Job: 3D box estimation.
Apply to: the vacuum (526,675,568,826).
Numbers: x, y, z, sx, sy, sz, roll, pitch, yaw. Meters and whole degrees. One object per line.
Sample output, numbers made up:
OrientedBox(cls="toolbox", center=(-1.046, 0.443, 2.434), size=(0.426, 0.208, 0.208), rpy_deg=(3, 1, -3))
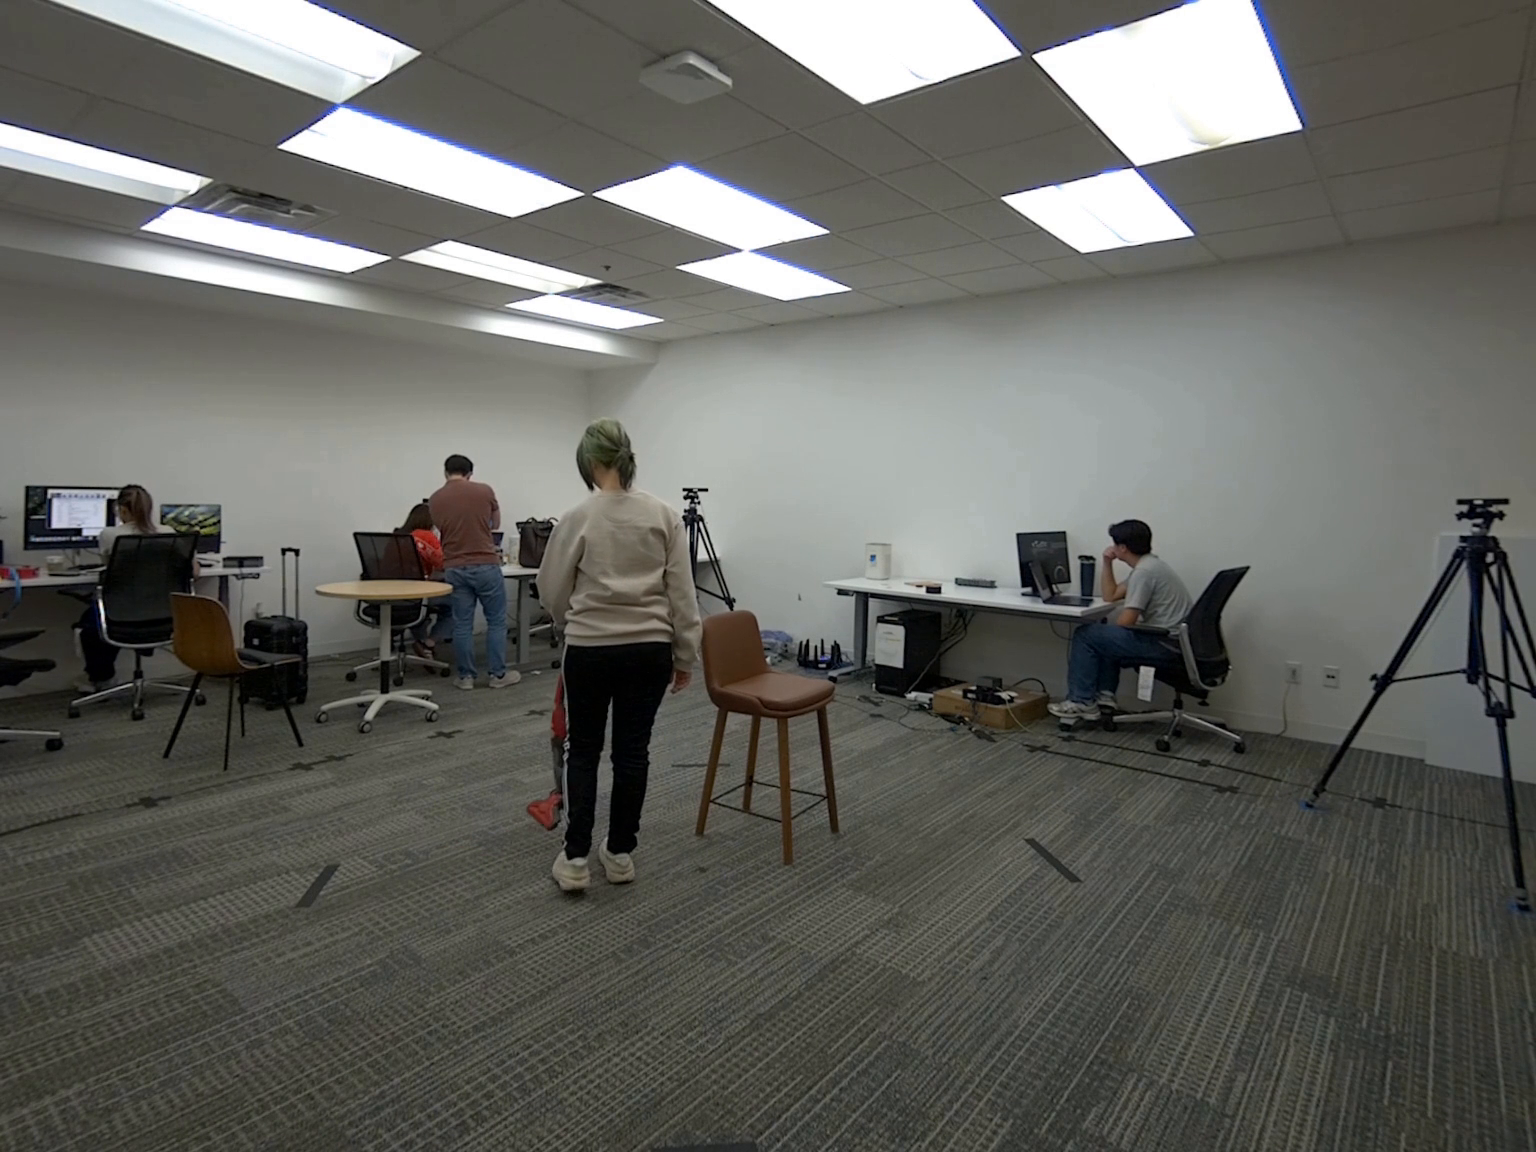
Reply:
OrientedBox(cls="vacuum", center=(-0.766, 0.373, 3.291), size=(0.139, 1.054, 0.260), rpy_deg=(12, -6, -35))
